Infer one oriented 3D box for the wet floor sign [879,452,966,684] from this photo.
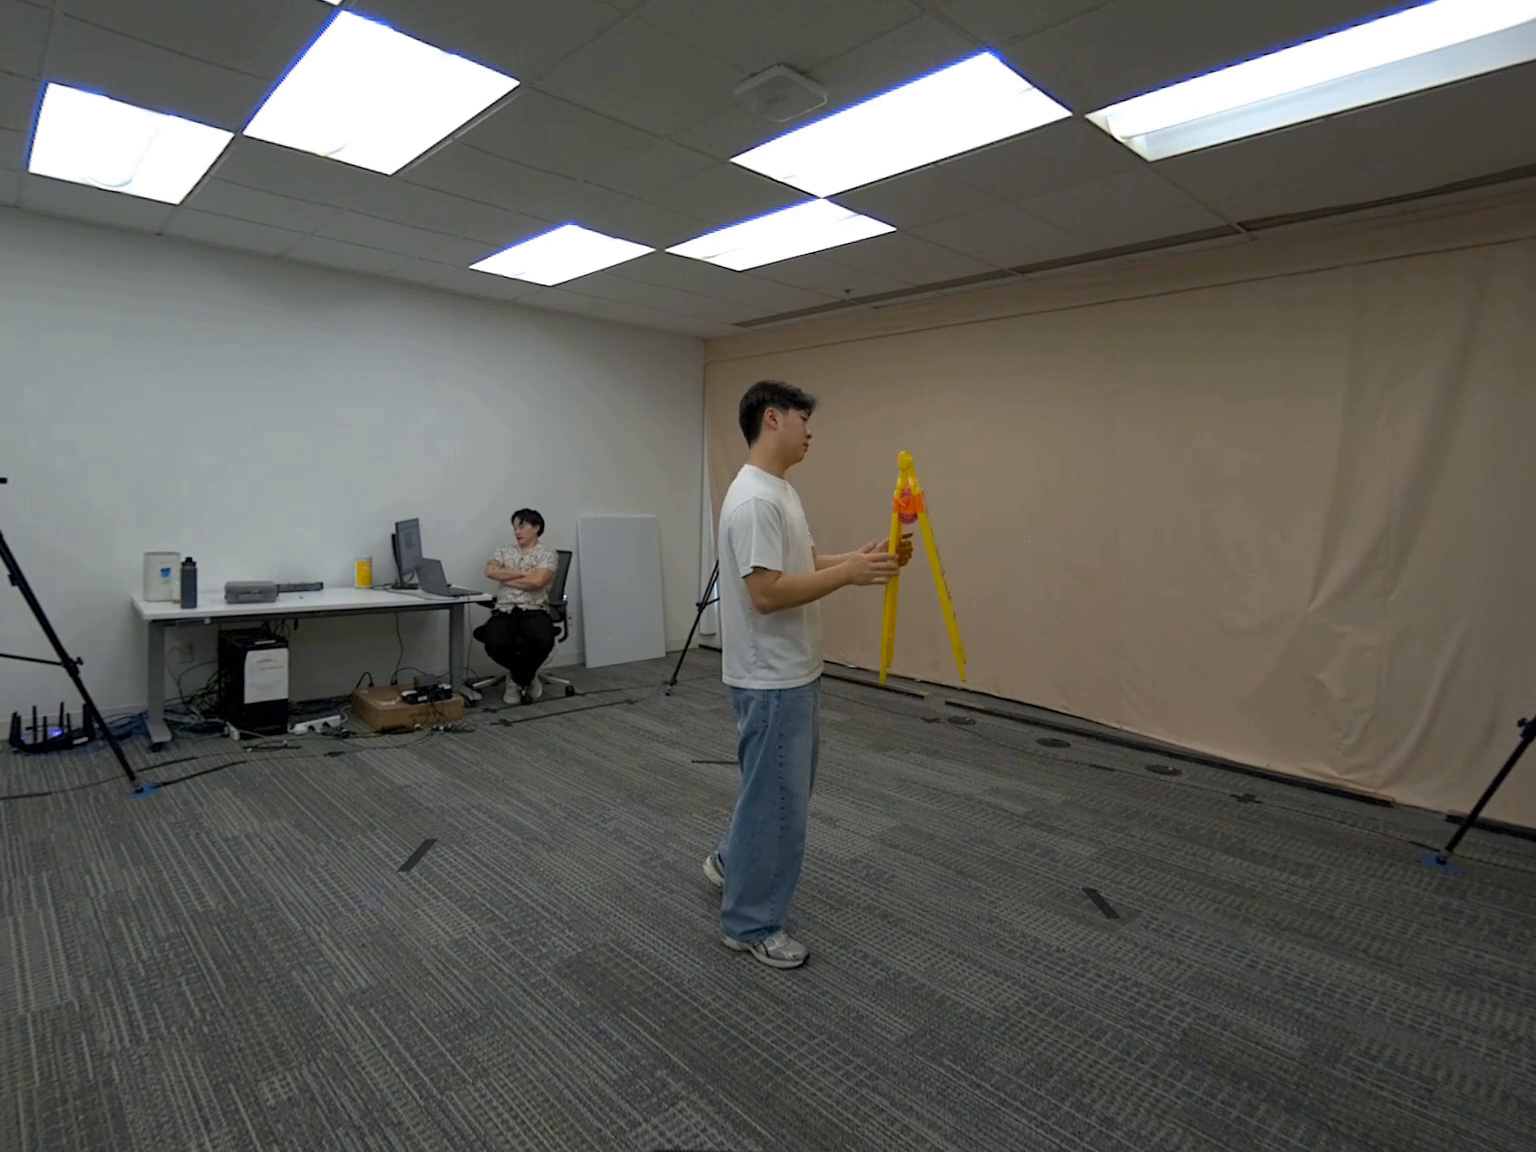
[{"bbox_3d":[0.413,-0.034,2.456,0.293,0.643,0.280,-4,5,15],"label":"wet floor sign"}]
